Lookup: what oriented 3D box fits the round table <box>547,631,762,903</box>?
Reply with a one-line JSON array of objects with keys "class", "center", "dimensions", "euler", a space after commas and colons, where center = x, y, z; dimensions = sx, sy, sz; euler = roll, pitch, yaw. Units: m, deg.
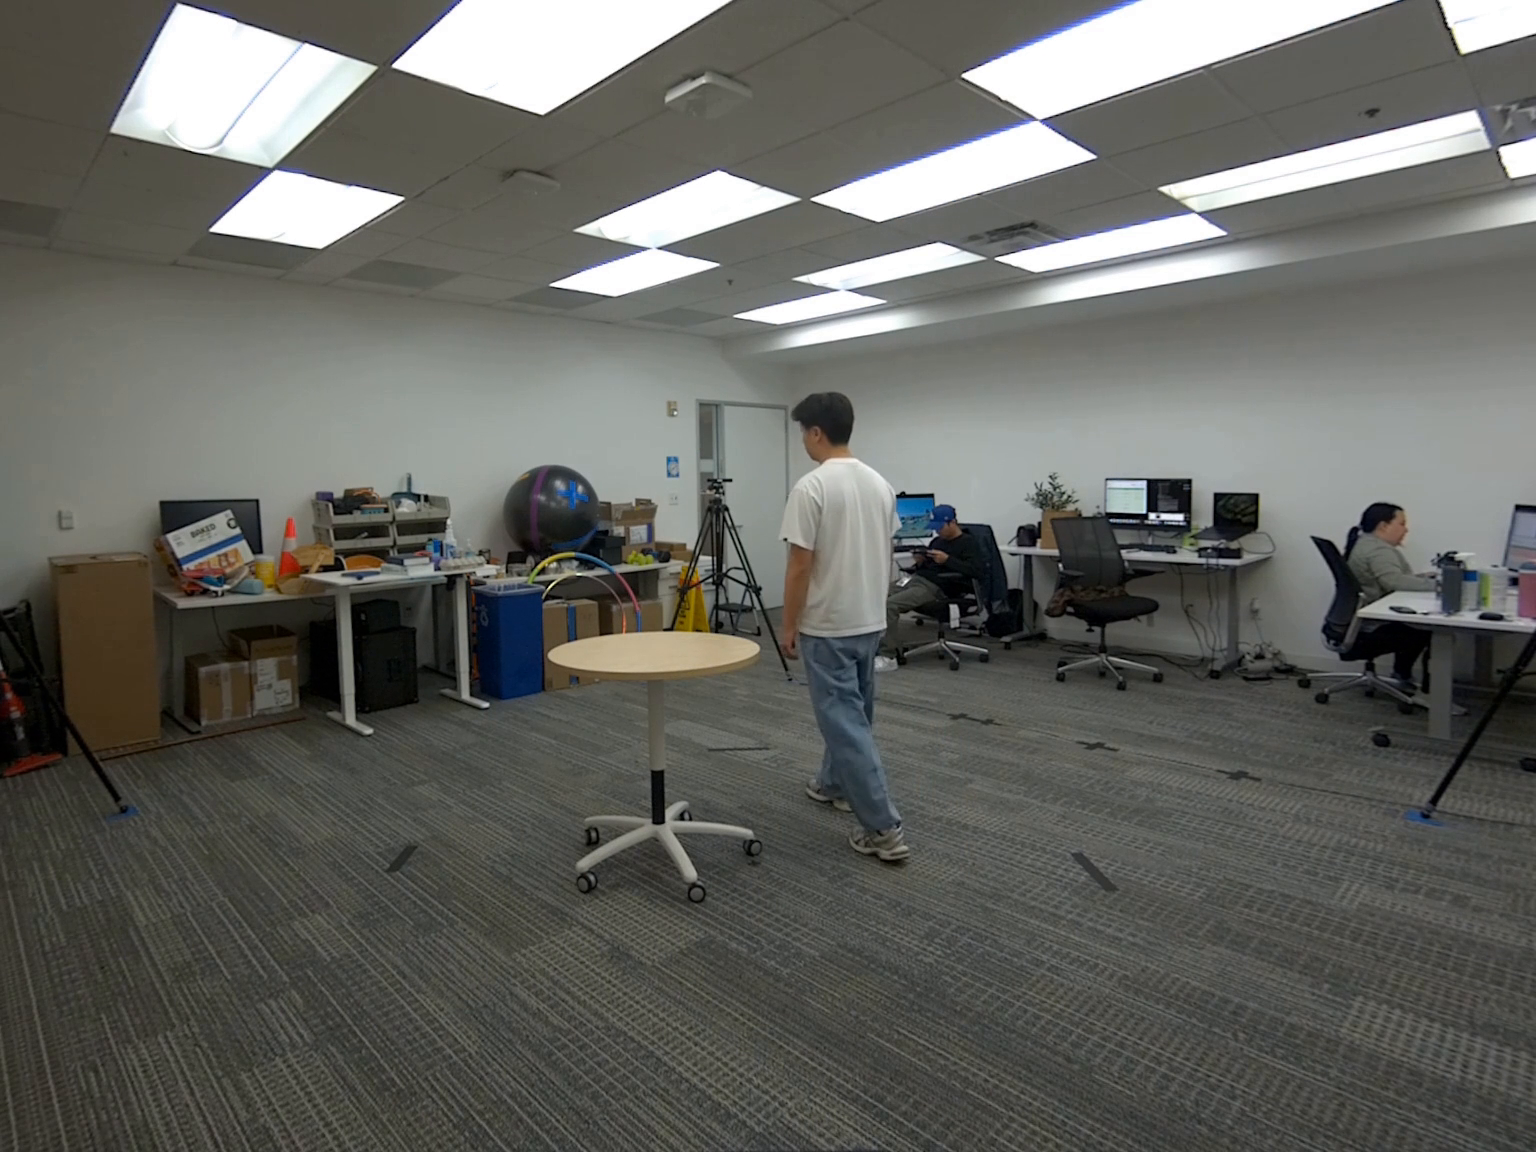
[{"class": "round table", "center": [-0.400, 0.659, 3.128], "dimensions": [0.763, 0.791, 0.768], "euler": [-1, 5, -2]}]
